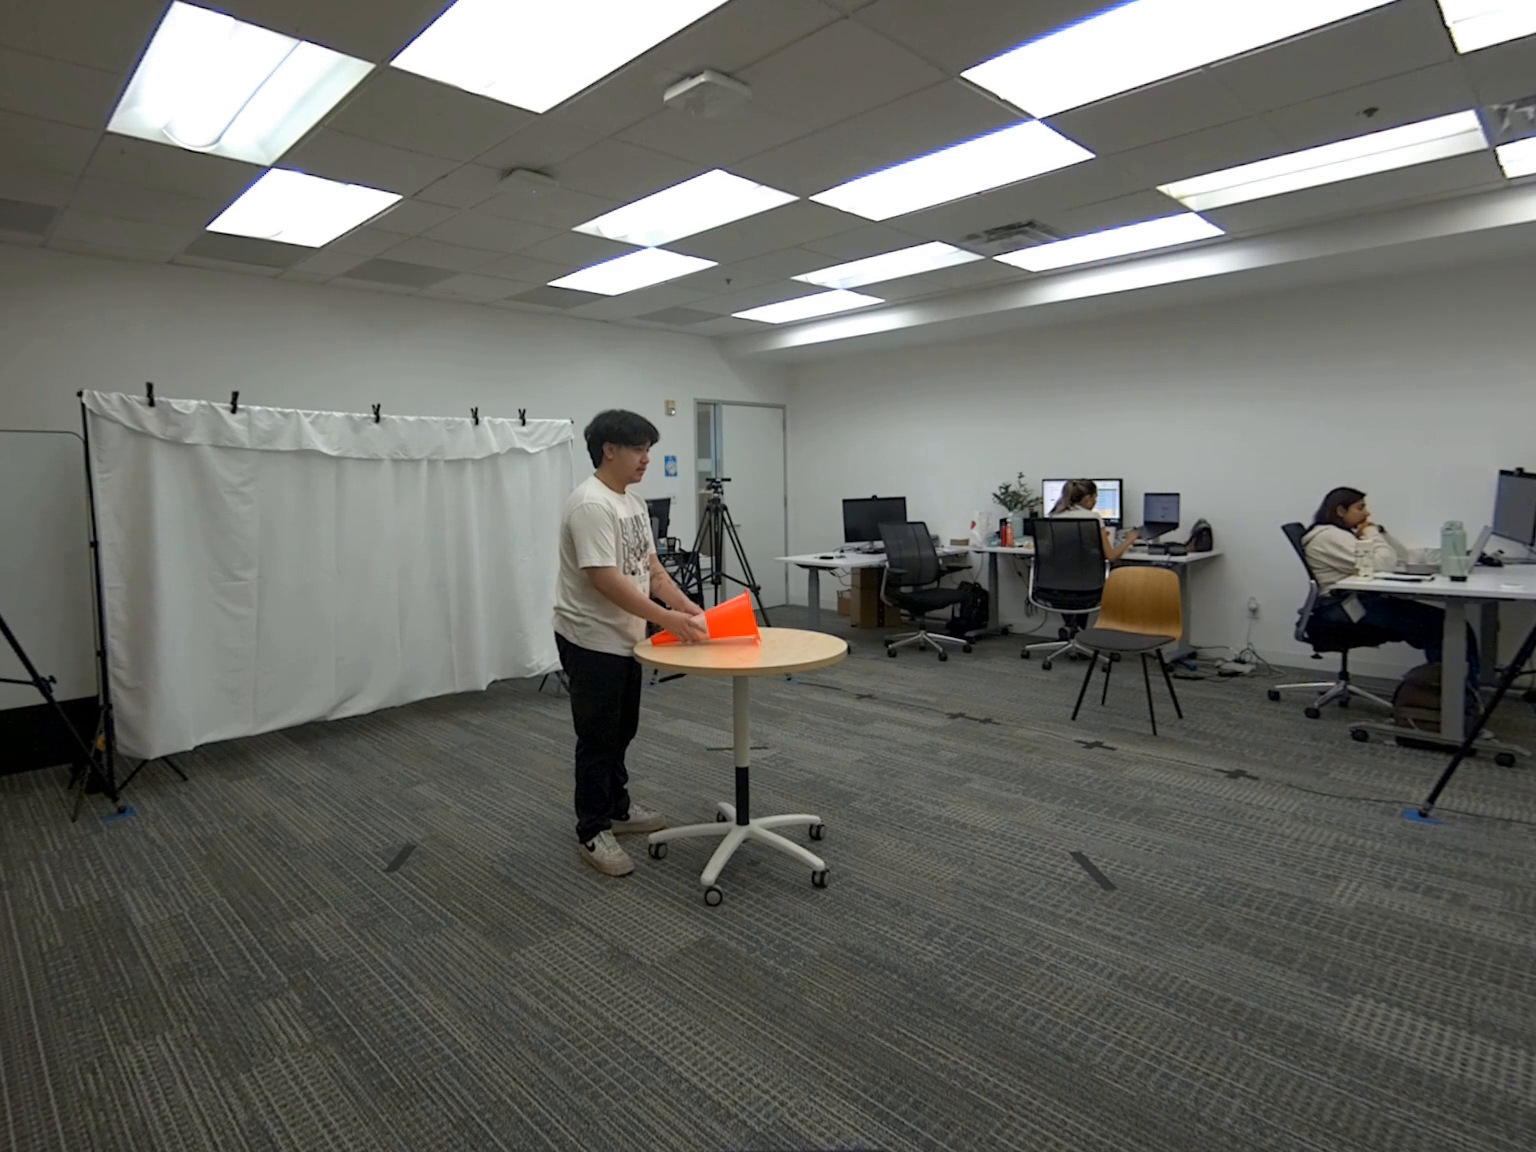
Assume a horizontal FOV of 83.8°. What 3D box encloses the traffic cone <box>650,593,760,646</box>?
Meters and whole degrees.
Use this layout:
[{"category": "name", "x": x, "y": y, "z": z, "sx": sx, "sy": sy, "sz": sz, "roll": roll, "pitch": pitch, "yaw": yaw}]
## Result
[{"category": "traffic cone", "x": -0.248, "y": 0.196, "z": 3.118, "sx": 0.385, "sy": 0.205, "sz": 0.202, "roll": -14, "pitch": 0, "yaw": 5}]
